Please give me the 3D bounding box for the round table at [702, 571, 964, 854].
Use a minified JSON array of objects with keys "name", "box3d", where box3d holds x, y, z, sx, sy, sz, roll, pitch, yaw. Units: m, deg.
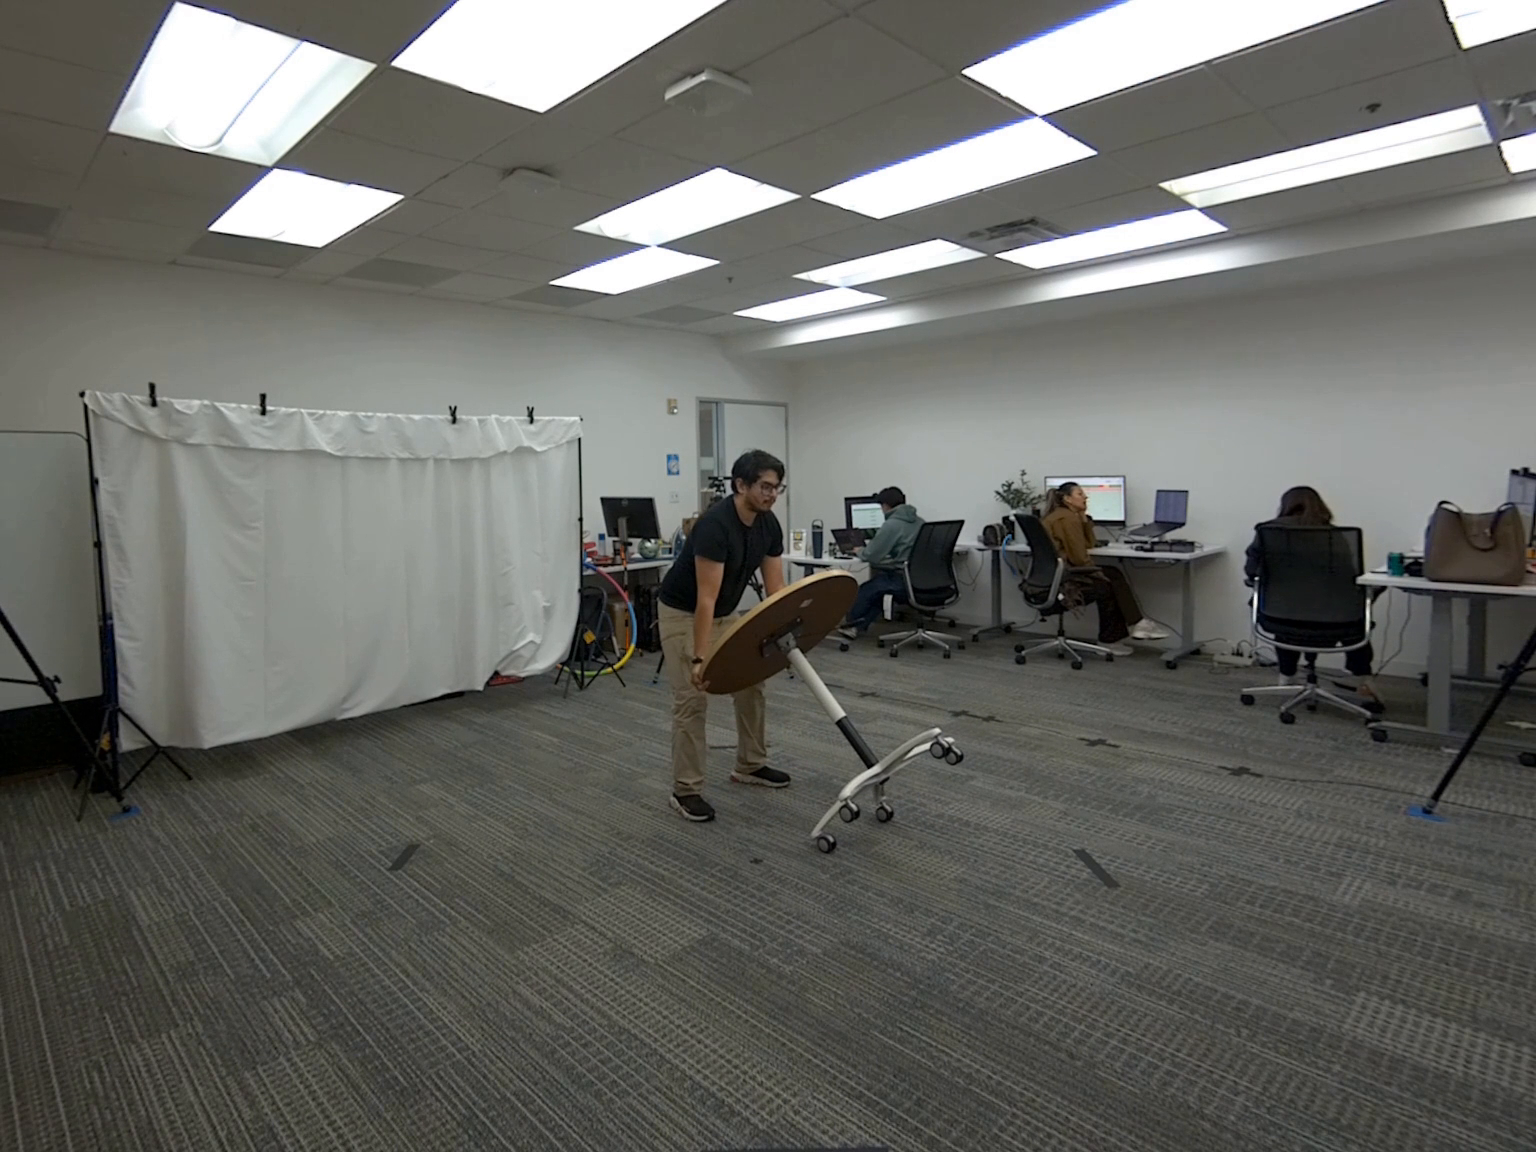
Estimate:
[{"name":"round table","box3d":[0.254,0.535,3.324,0.779,0.811,0.767,-28,-26,-17]}]
